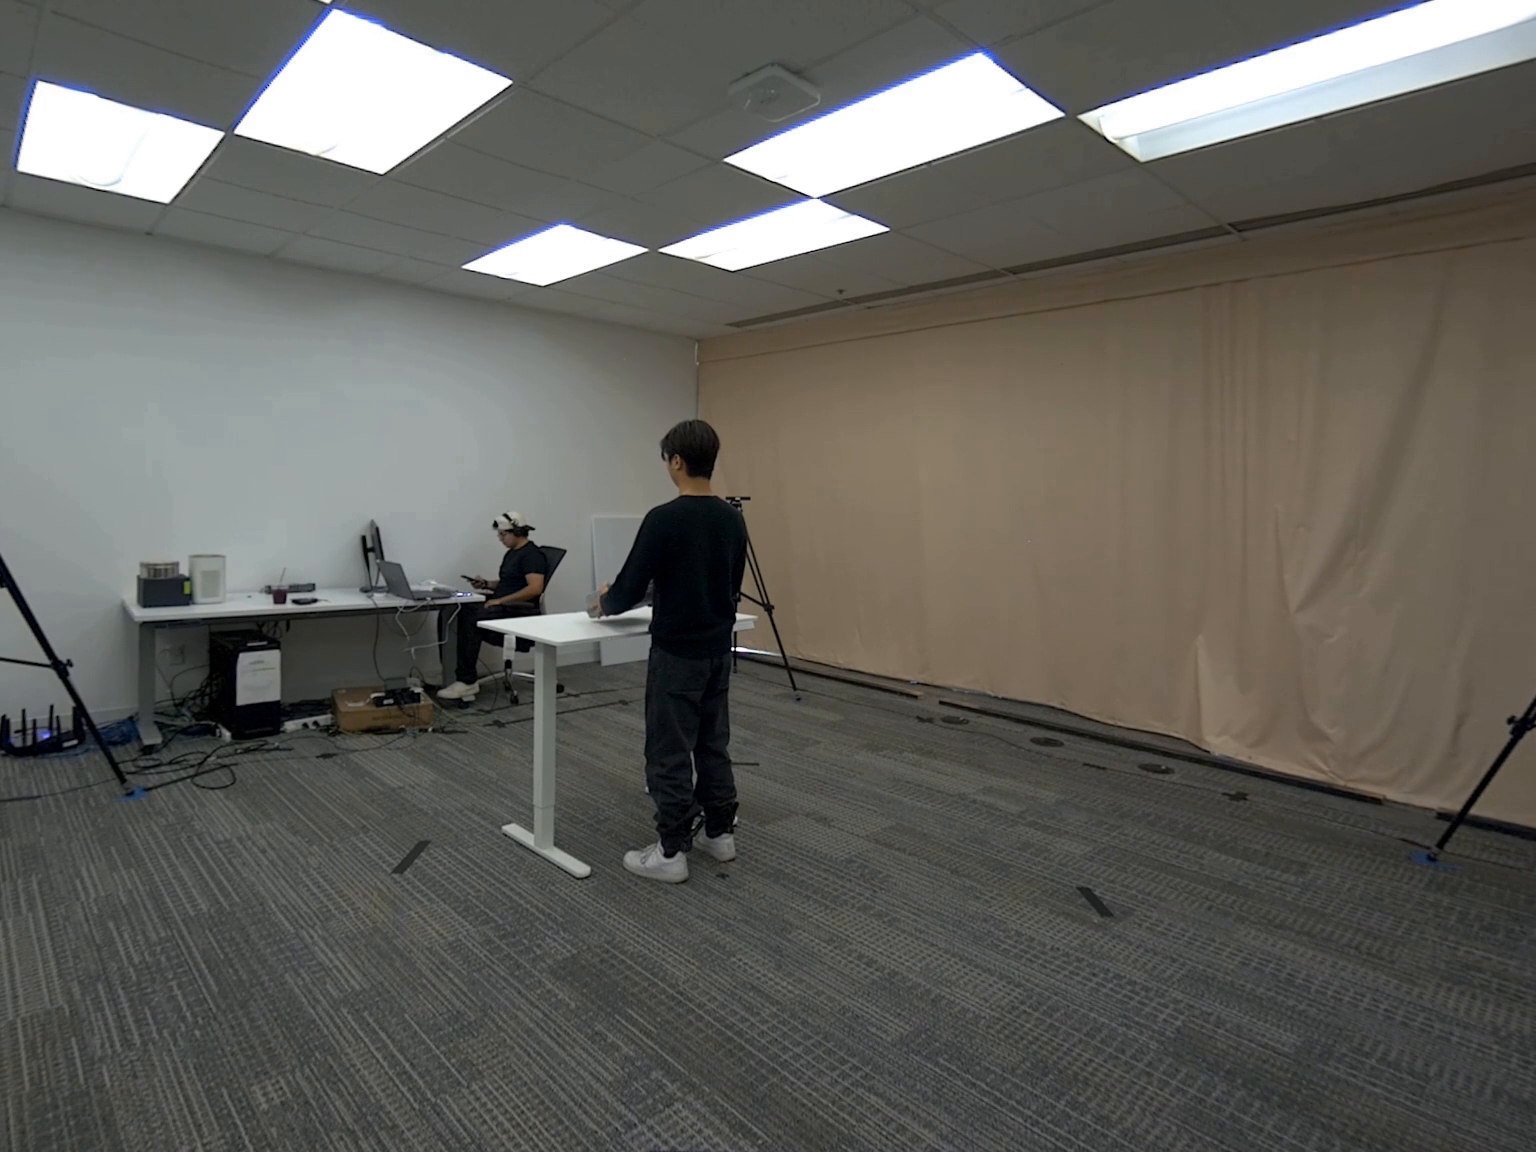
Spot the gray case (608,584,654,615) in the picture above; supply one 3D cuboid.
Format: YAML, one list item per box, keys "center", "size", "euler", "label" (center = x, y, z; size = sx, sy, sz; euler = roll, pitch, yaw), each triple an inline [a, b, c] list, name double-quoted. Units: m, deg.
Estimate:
- center: [-0.574, 0.086, 3.397]
  size: [0.252, 0.105, 0.264]
  euler: [-10, -6, -43]
  label: "gray case"
